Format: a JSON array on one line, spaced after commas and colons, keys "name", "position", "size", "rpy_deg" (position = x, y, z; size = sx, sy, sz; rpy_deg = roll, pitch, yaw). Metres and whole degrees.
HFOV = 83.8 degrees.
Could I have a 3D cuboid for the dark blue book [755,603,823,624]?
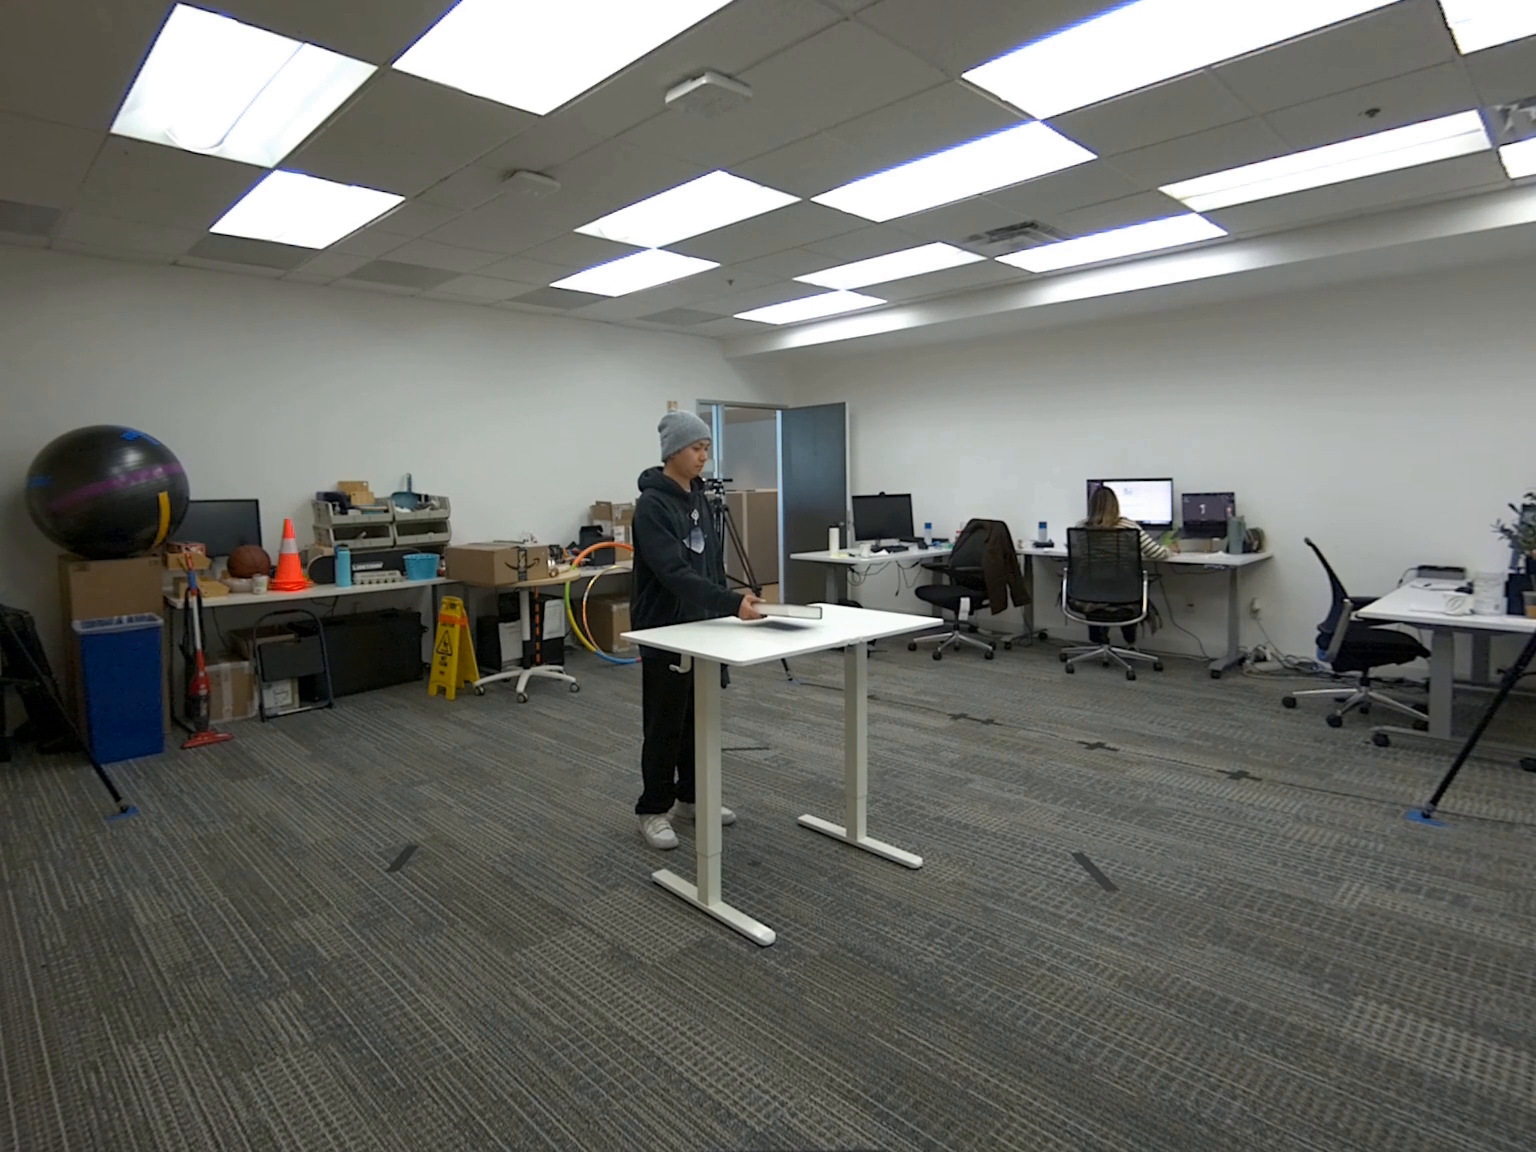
[{"name": "dark blue book", "position": [0.047, 0.120, 2.998], "size": [0.158, 0.045, 0.252], "rpy_deg": [4, -2, -39]}]
